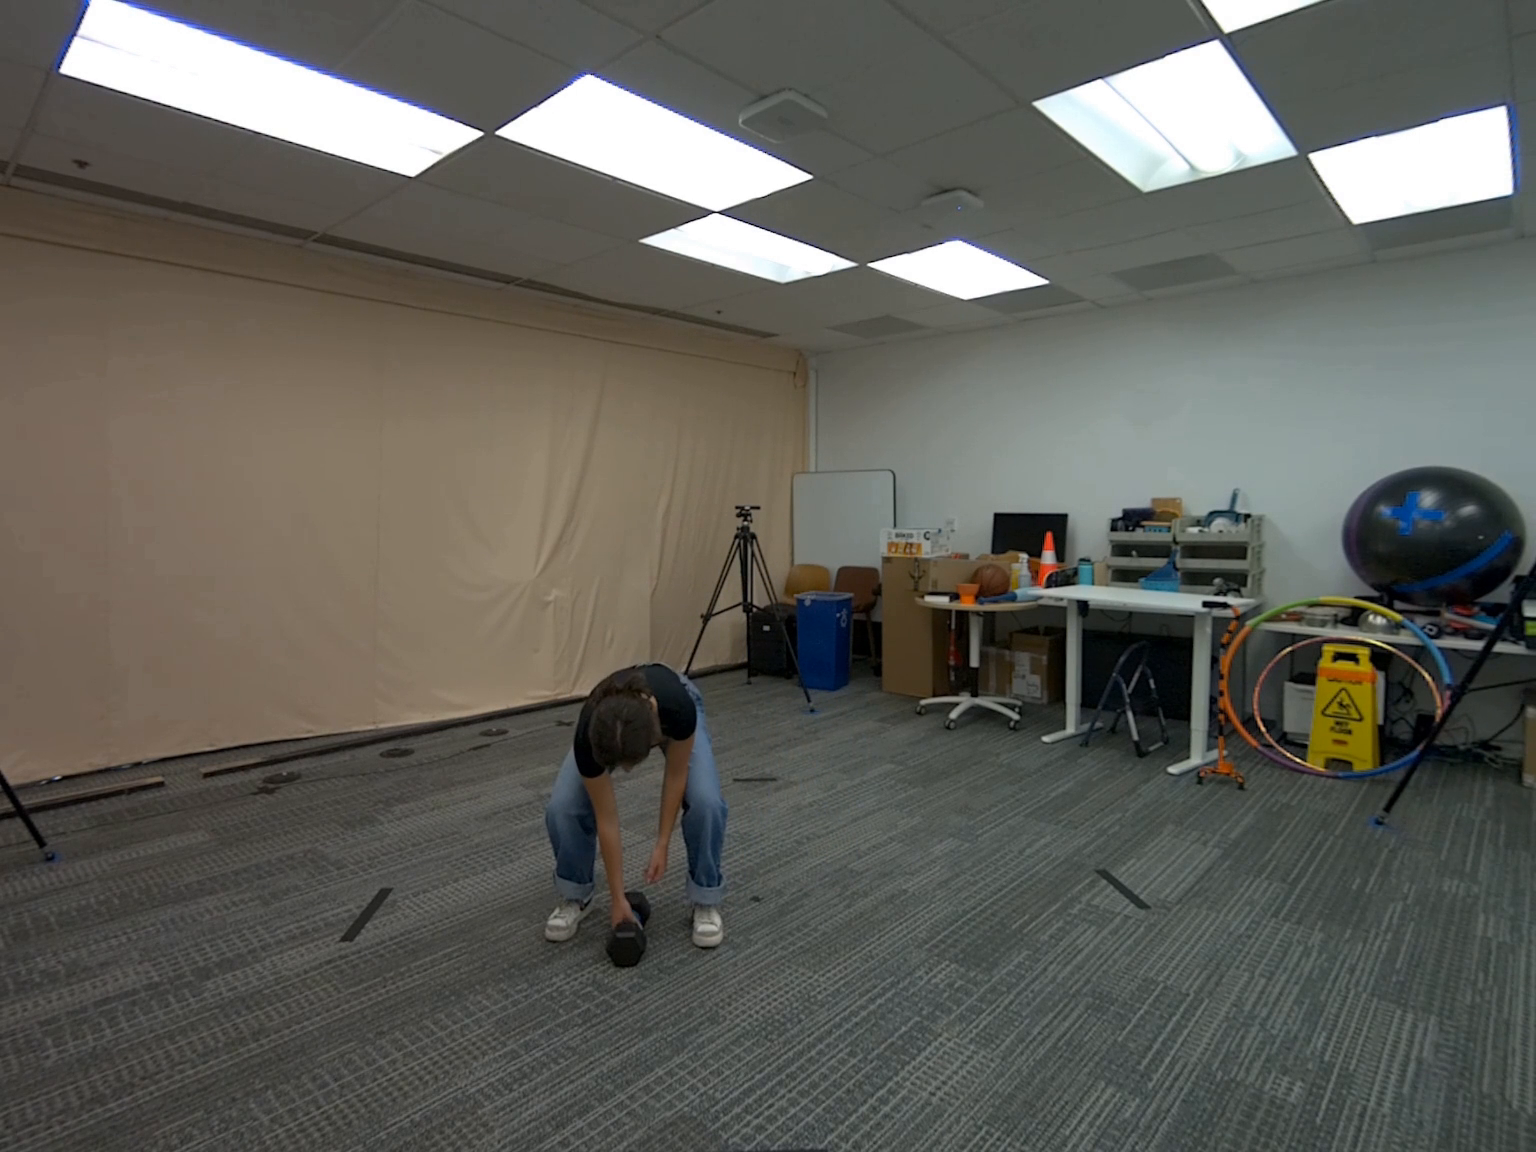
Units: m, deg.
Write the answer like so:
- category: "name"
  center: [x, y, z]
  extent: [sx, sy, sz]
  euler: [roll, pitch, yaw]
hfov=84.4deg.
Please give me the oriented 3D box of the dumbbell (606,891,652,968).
- category: "dumbbell"
  center: [-0.437, 1.116, 2.678]
  extent: [0.108, 0.123, 0.295]
  euler: [30, 2, -6]
